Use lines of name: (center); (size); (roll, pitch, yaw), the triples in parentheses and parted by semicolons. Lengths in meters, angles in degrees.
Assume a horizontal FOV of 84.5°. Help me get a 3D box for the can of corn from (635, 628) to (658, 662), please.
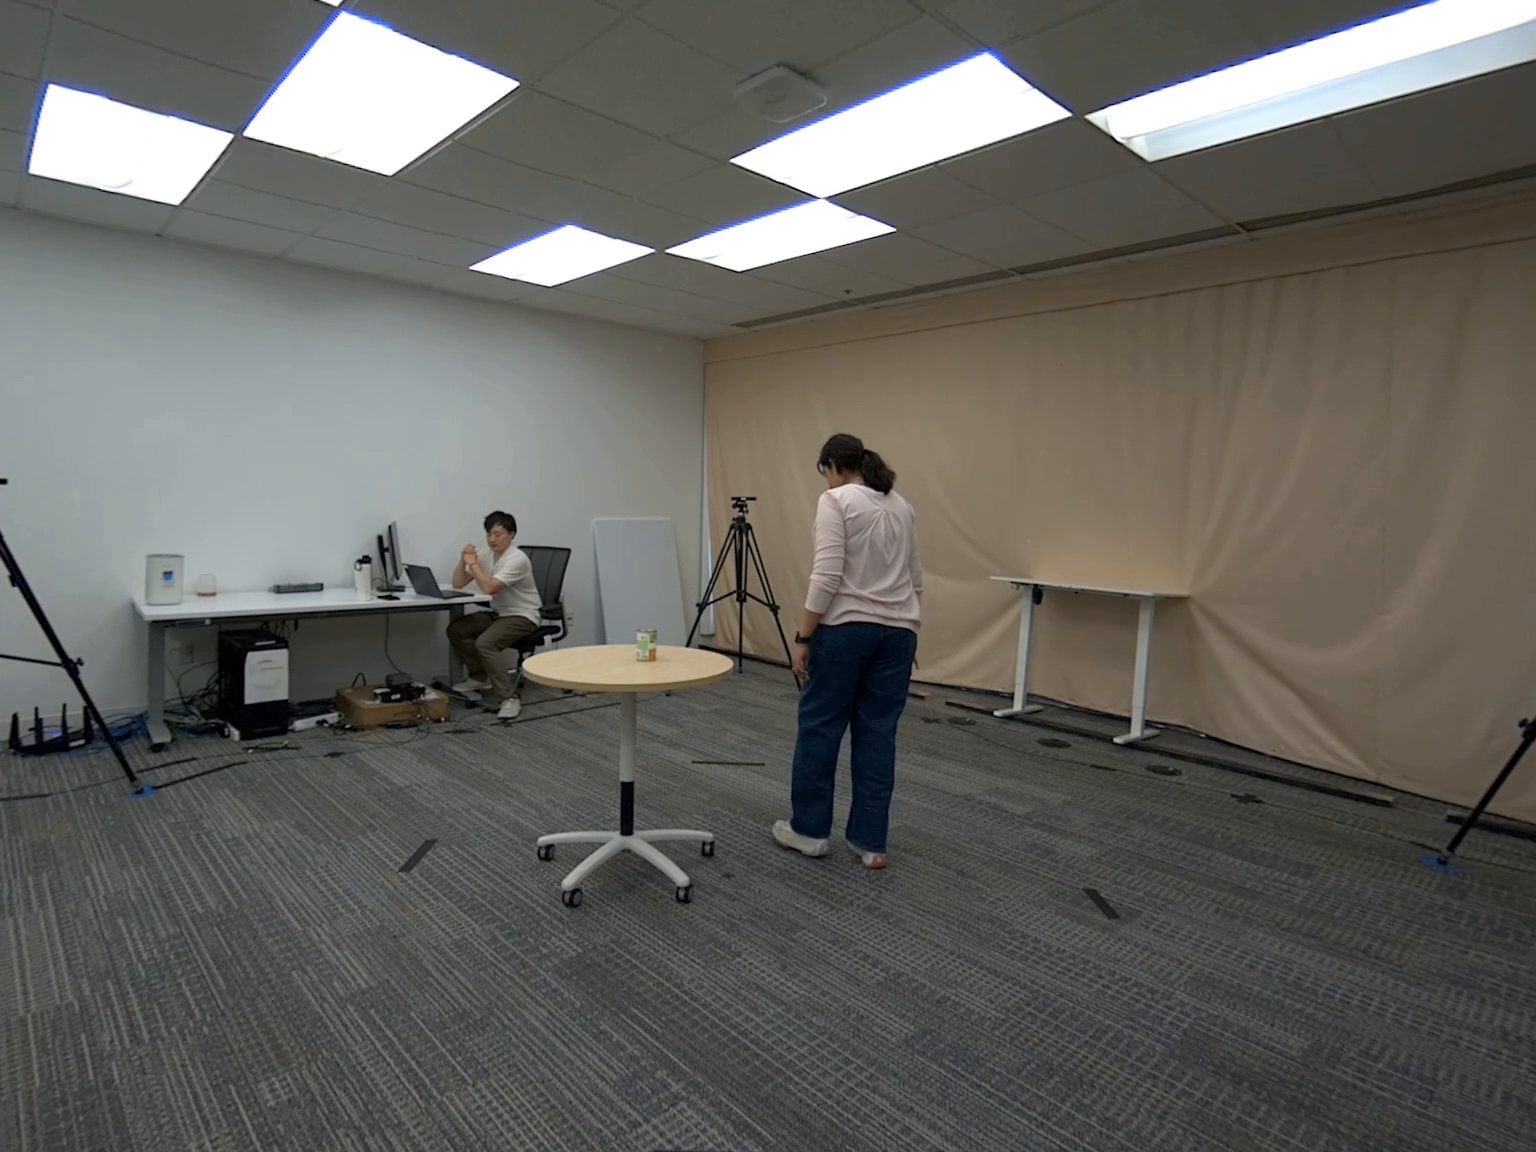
can of corn: (-0.458, 0.259, 3.125); (0.074, 0.111, 0.074); (0, 2, -1)
